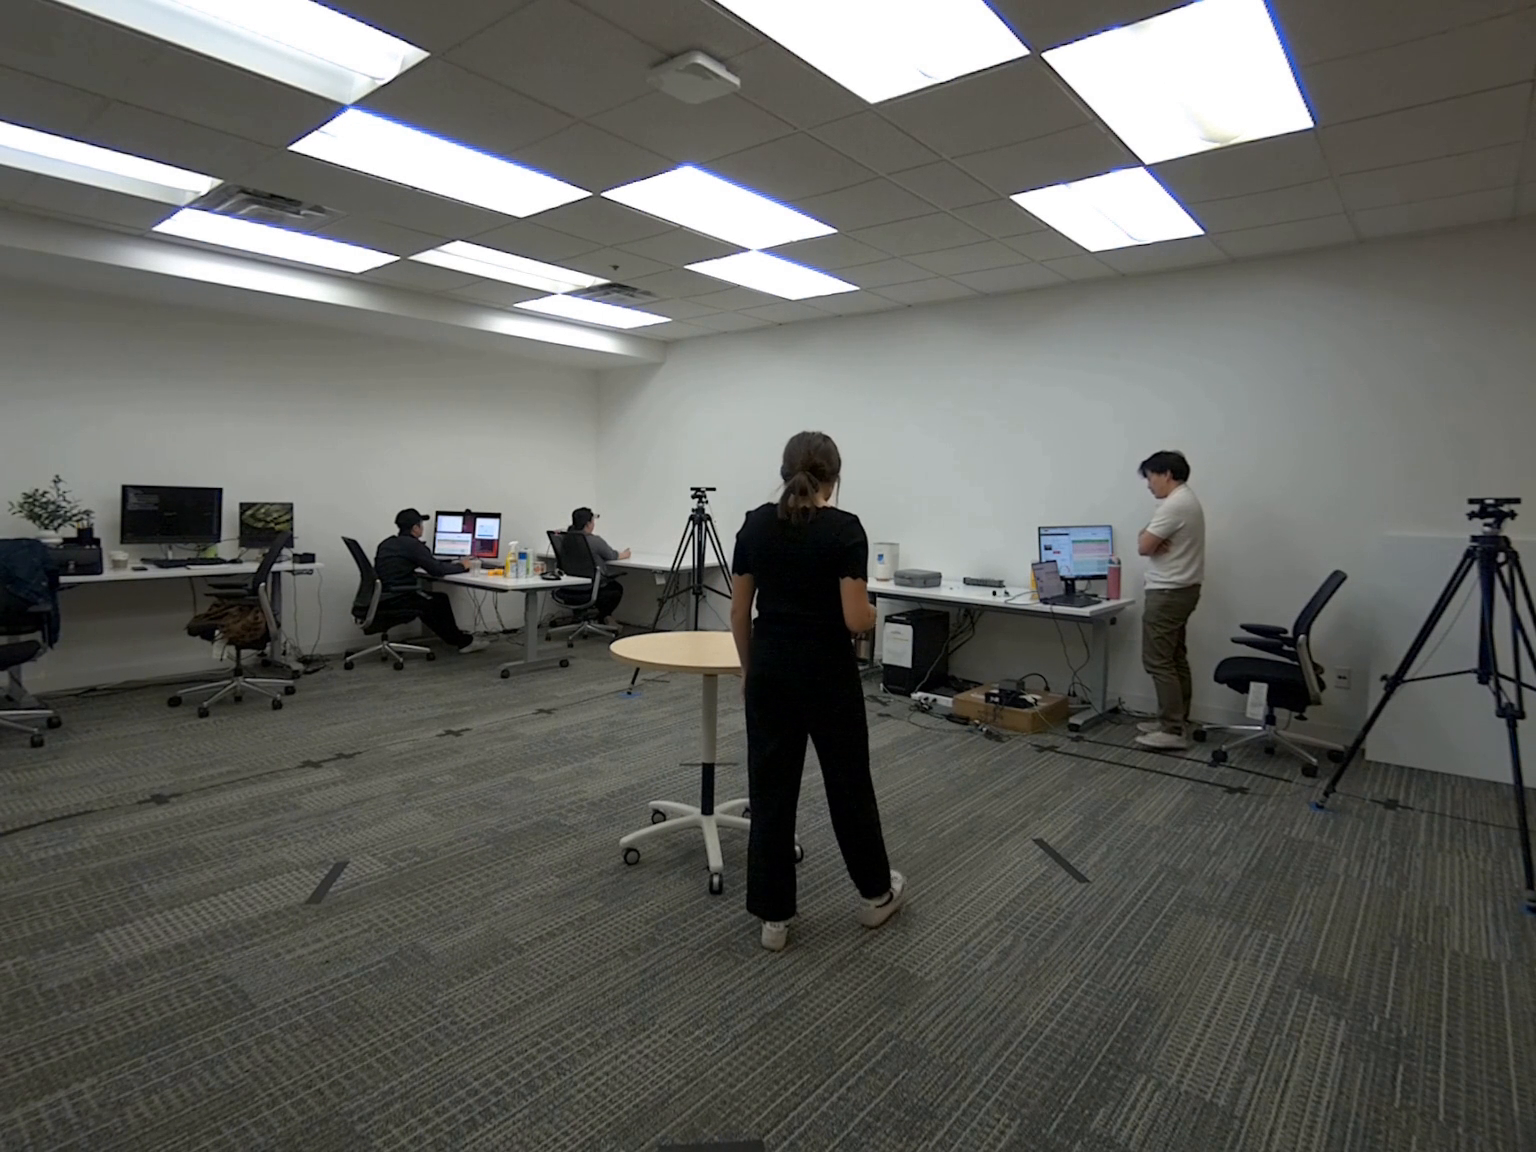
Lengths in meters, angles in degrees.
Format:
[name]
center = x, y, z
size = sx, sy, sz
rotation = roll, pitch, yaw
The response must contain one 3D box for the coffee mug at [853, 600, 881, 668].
[coffee mug]
center = 0.293, 0.184, 2.764
size = 0.090, 0.206, 0.117
rotation = -5, -24, 34
